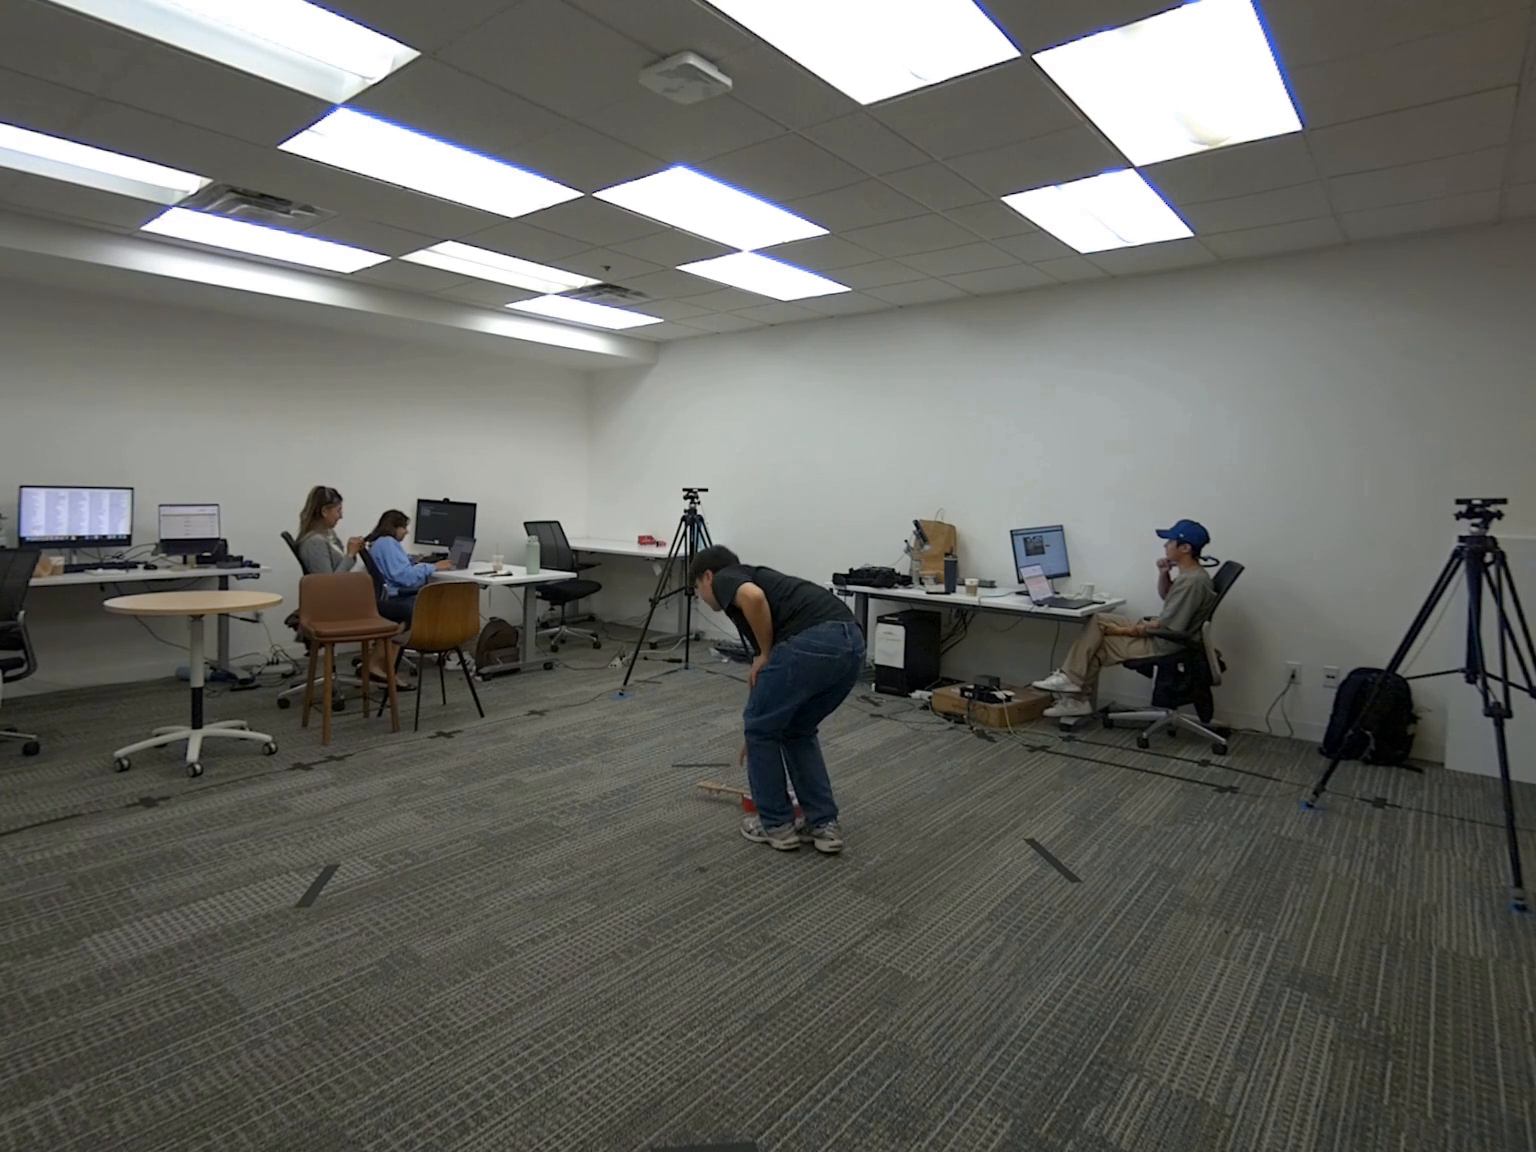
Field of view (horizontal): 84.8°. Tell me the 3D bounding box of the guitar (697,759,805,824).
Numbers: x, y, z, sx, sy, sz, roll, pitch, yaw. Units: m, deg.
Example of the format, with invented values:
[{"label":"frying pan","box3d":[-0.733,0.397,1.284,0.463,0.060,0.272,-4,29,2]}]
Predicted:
[{"label":"guitar","box3d":[-0.081,0.972,3.779,0.513,0.070,0.188,5,7,31]}]
